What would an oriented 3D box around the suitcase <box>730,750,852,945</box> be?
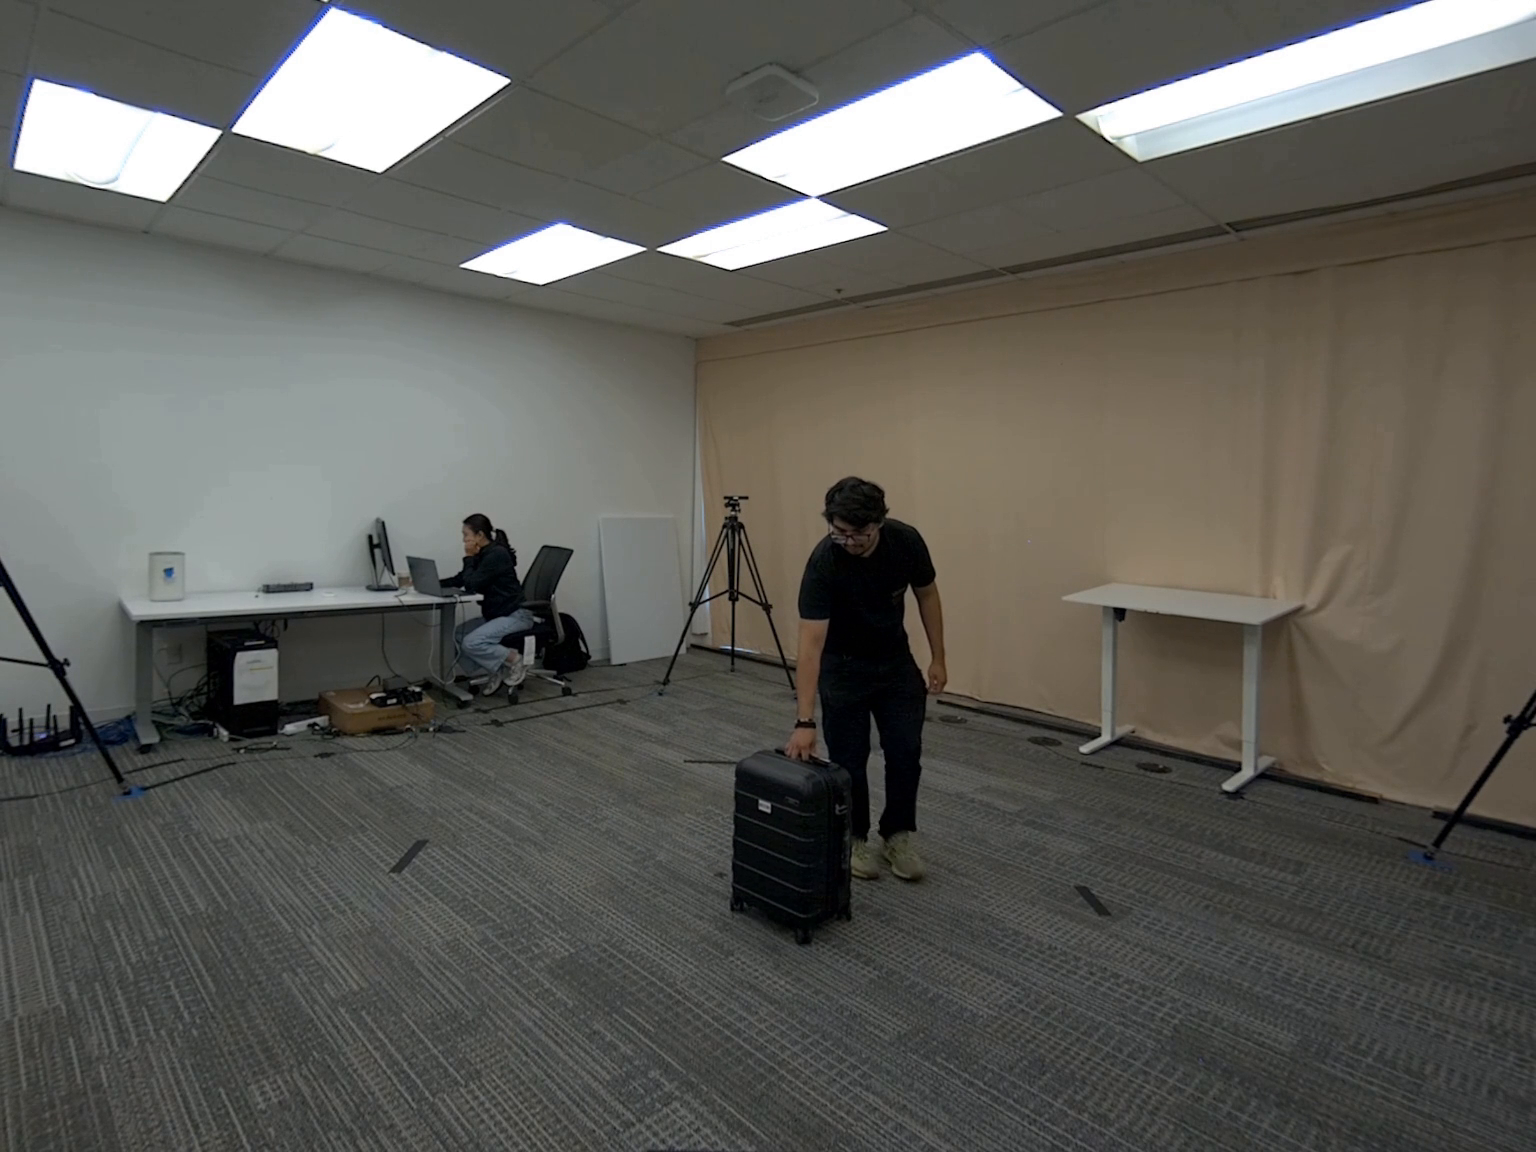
[{"bbox_3d":[0.069,0.871,2.783,0.385,0.547,0.243,5,7,43],"label":"suitcase"}]
